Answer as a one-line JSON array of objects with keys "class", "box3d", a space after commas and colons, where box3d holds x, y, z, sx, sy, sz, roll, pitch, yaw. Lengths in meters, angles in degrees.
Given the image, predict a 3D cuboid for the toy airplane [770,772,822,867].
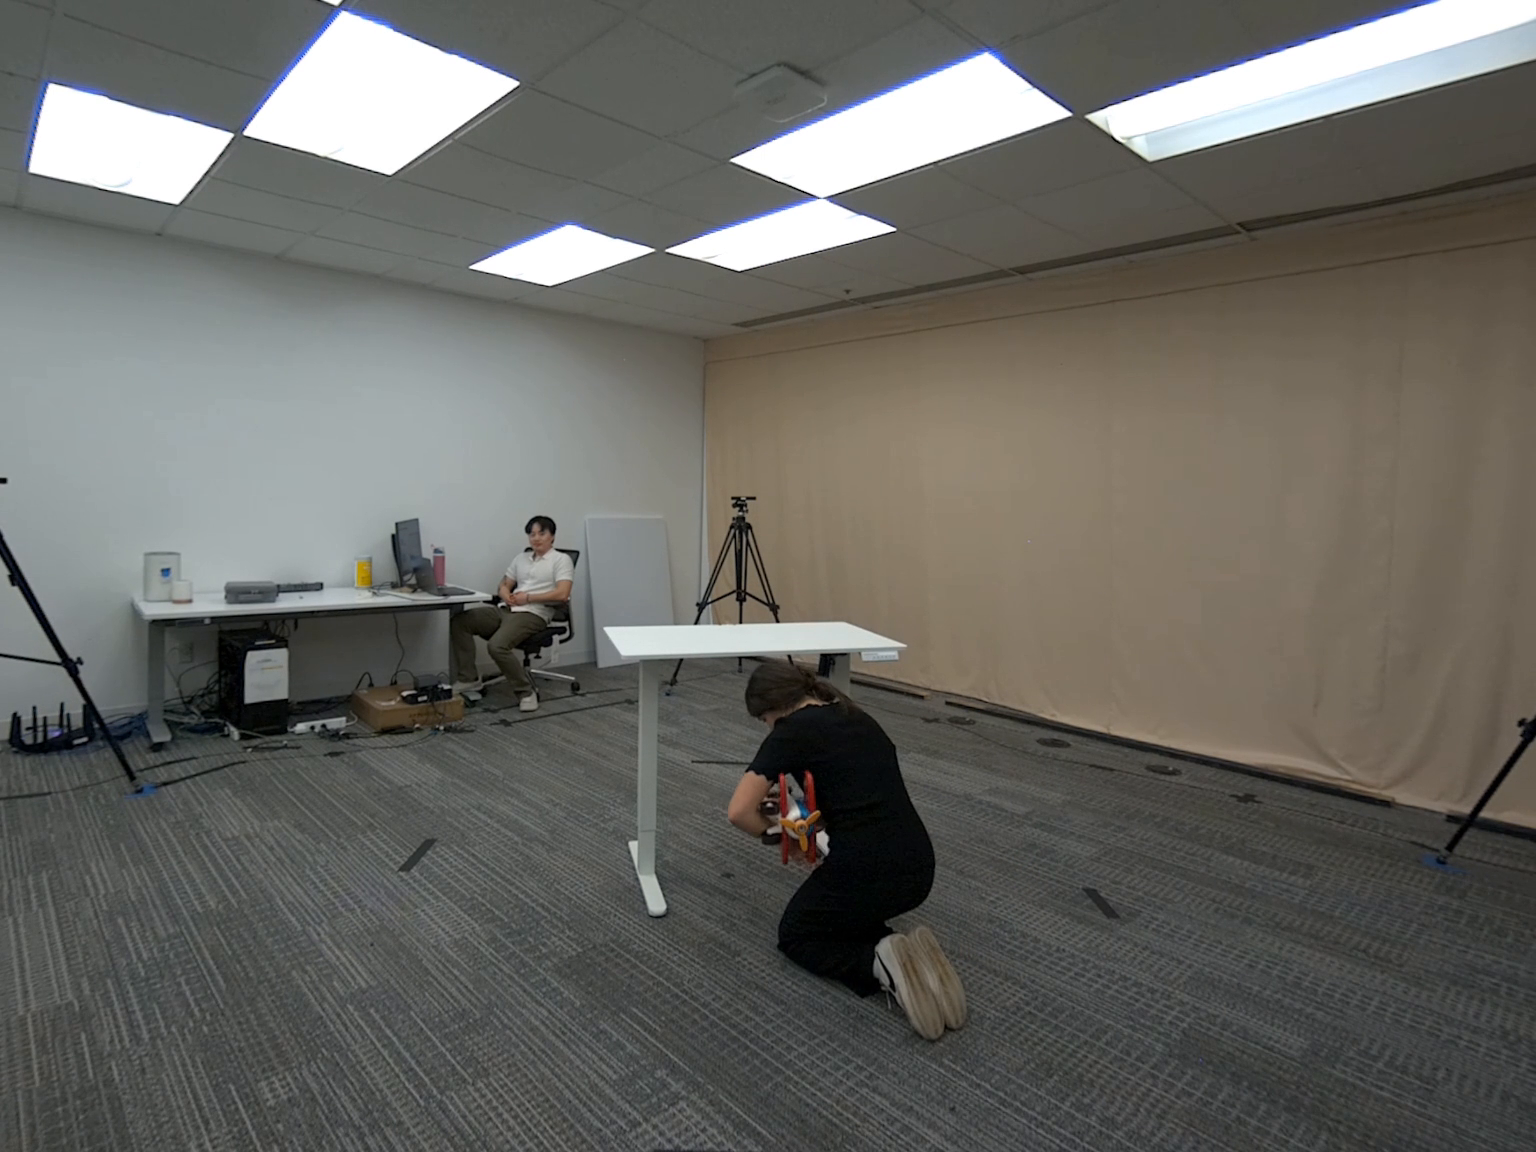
[{"class": "toy airplane", "box3d": [0.058, 0.665, 2.449, 0.157, 0.246, 0.263, -1, 31, 5]}]
